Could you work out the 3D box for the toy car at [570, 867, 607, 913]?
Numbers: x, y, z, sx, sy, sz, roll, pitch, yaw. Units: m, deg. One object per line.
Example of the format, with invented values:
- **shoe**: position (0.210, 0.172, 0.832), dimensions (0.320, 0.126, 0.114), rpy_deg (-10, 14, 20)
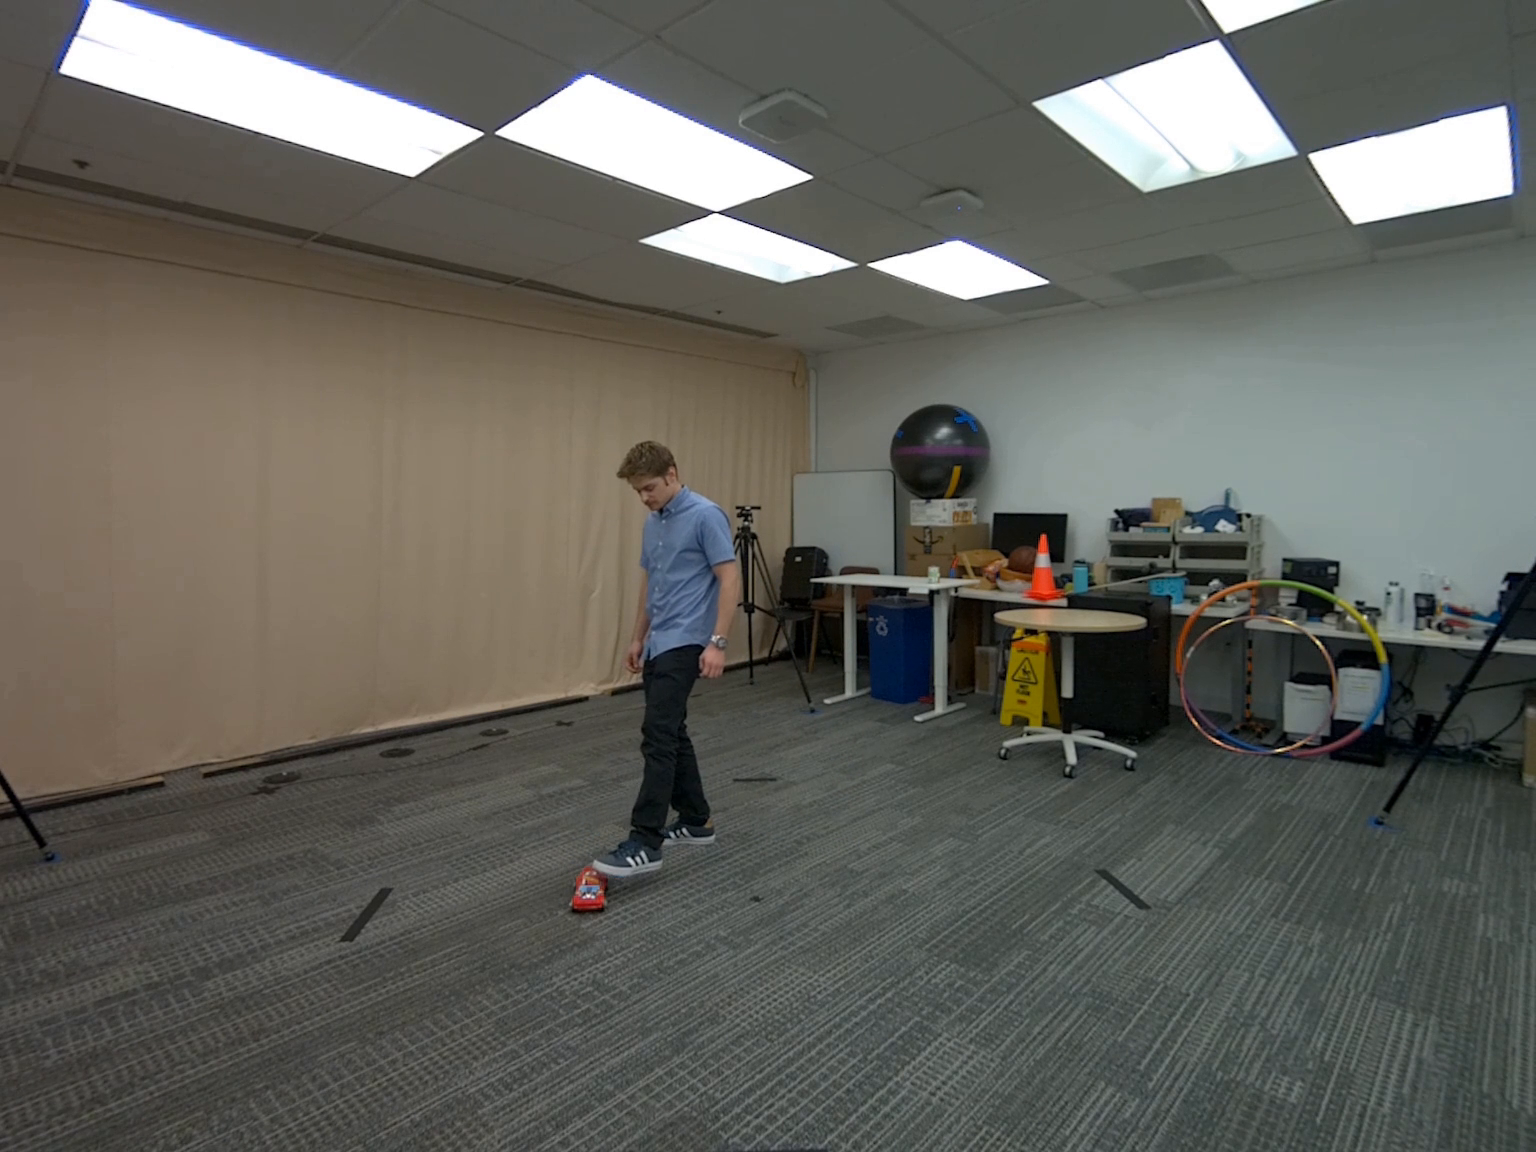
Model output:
- **toy car**: position (-0.630, 1.115, 2.993), dimensions (0.129, 0.082, 0.258), rpy_deg (0, 15, -7)
